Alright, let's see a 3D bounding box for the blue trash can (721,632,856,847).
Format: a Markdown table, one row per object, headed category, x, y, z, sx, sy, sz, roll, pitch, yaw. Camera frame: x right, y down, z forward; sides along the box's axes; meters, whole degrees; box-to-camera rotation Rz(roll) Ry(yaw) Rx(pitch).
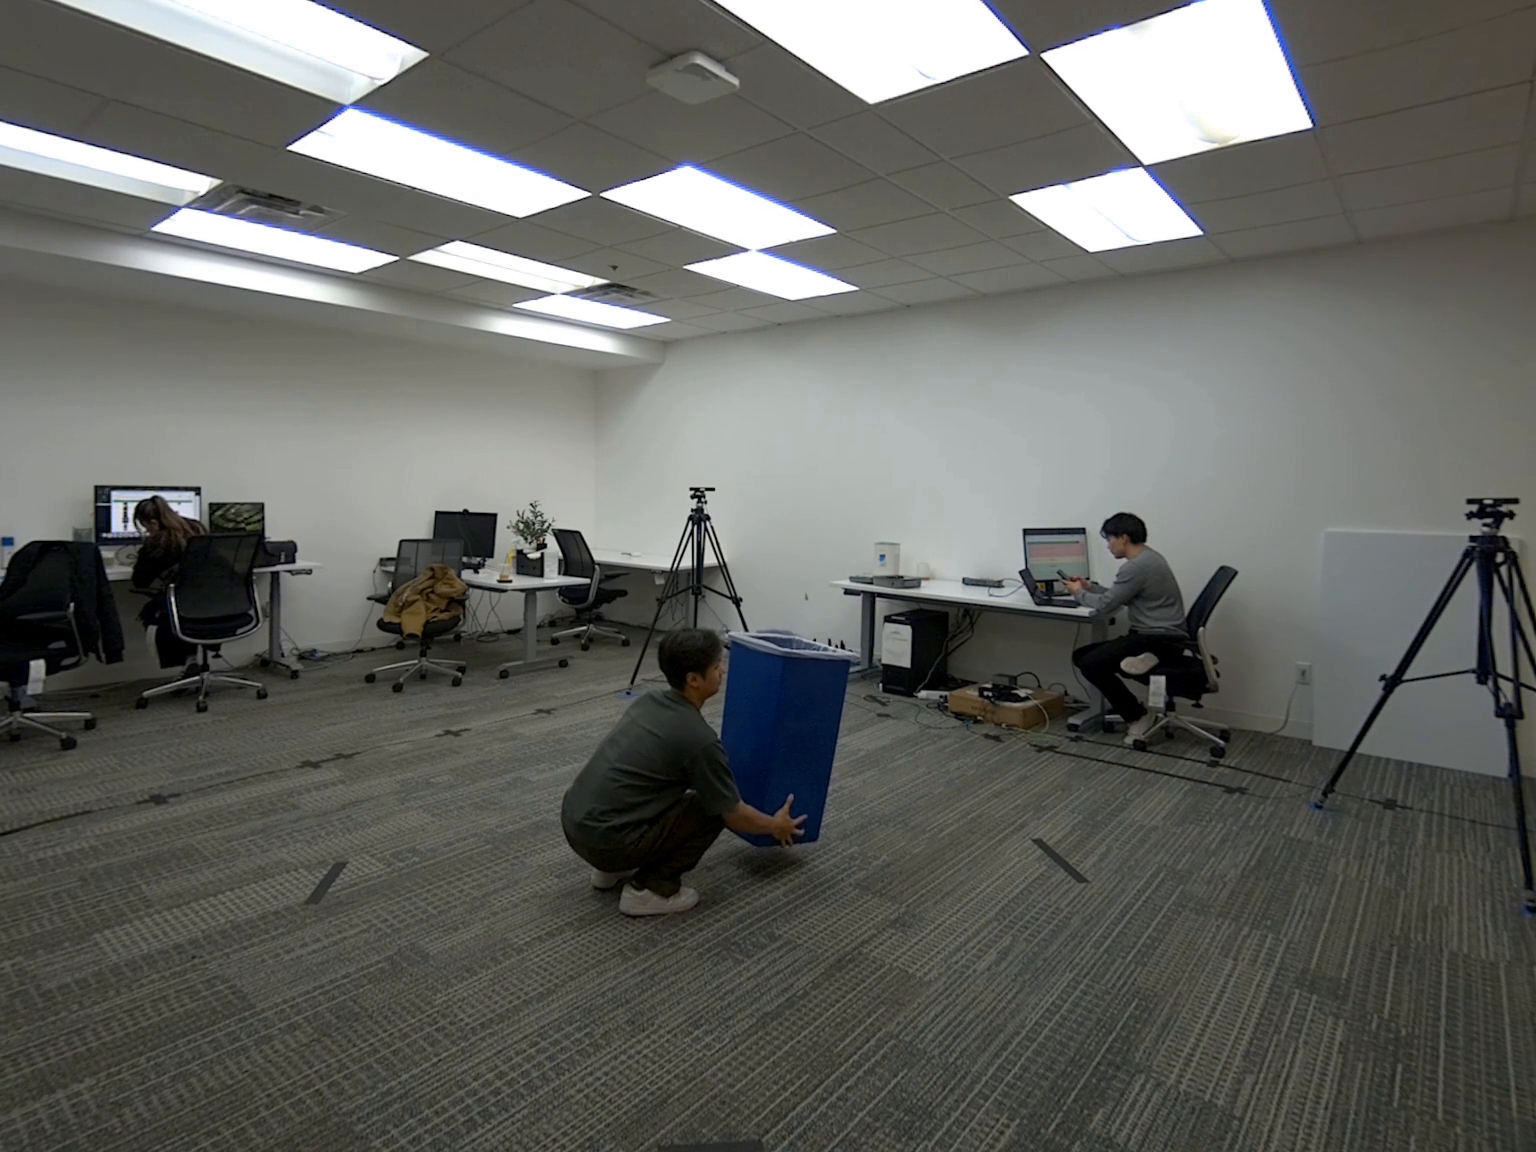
| category | x | y | z | sx | sy | sz | roll | pitch | yaw |
| --- | --- | --- | --- | --- | --- | --- | --- | --- | --- |
| blue trash can | 0.021 | 0.597 | 3.218 | 0.365 | 0.713 | 0.387 | 8 | 1 | -37 |
